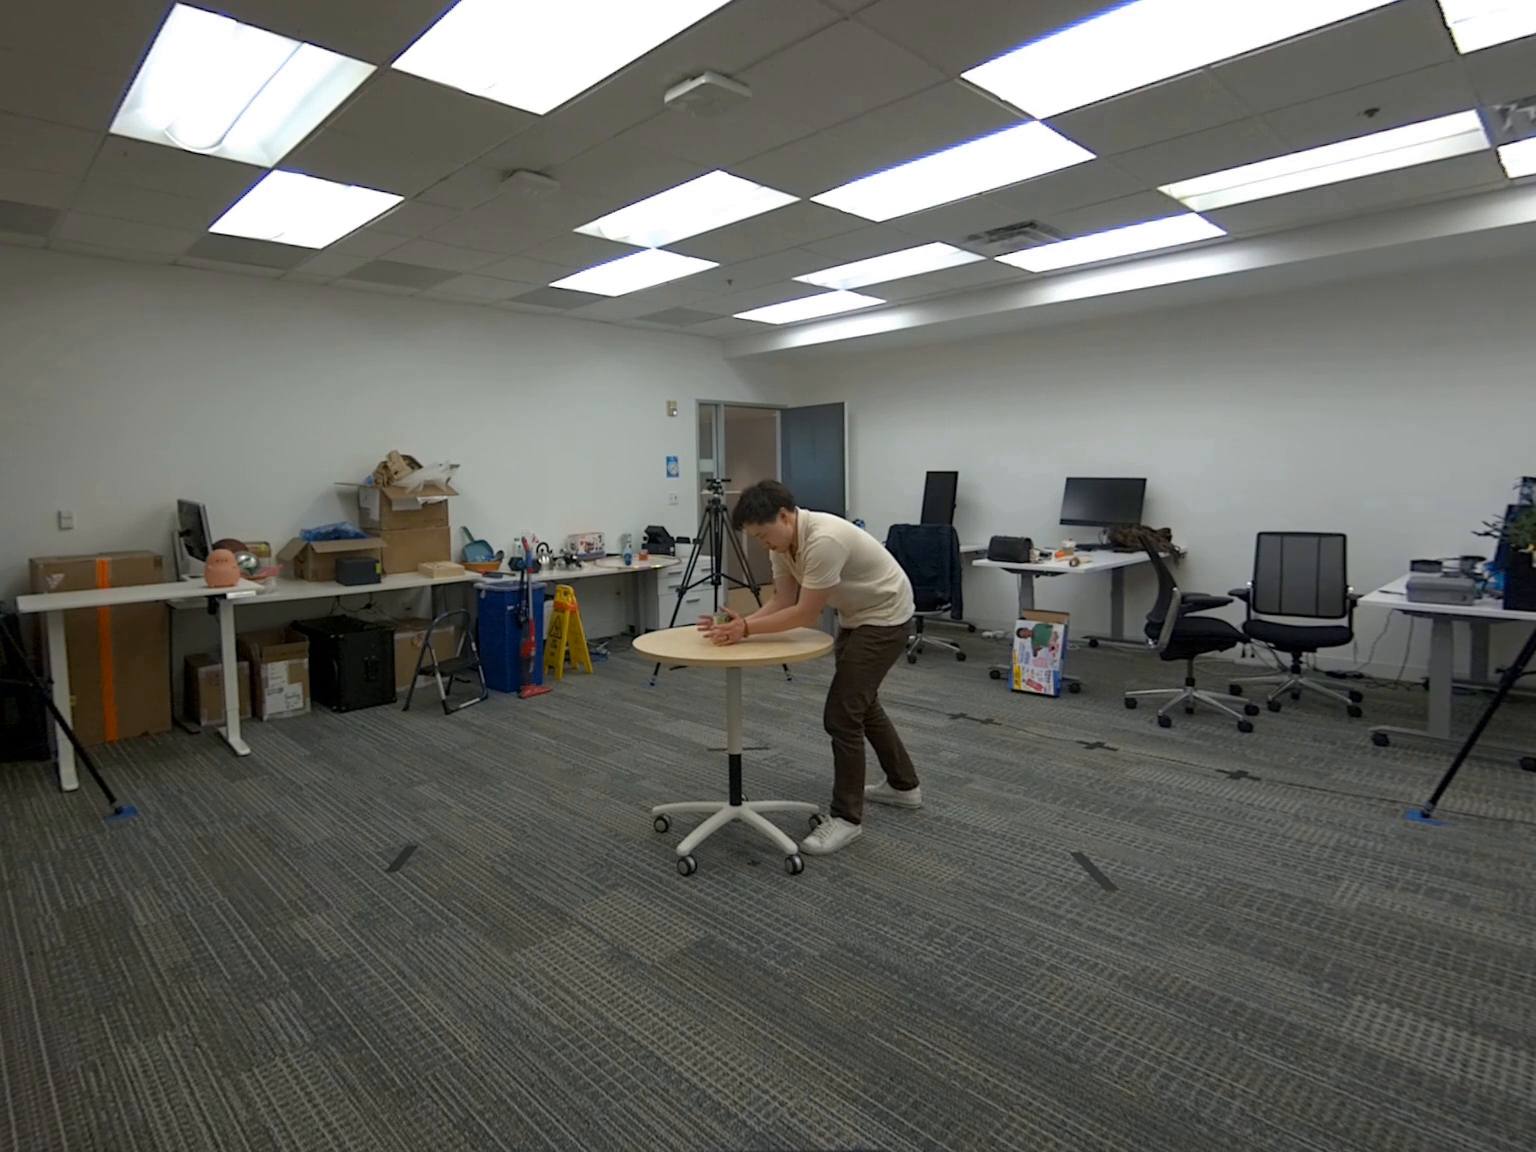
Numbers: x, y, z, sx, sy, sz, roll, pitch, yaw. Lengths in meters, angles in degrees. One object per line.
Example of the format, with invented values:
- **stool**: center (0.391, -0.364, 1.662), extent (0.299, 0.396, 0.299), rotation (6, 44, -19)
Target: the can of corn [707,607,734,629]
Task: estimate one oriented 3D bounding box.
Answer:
- **can of corn**: center (-0.160, 0.196, 3.205), extent (0.074, 0.111, 0.074), rotation (1, 2, -2)
